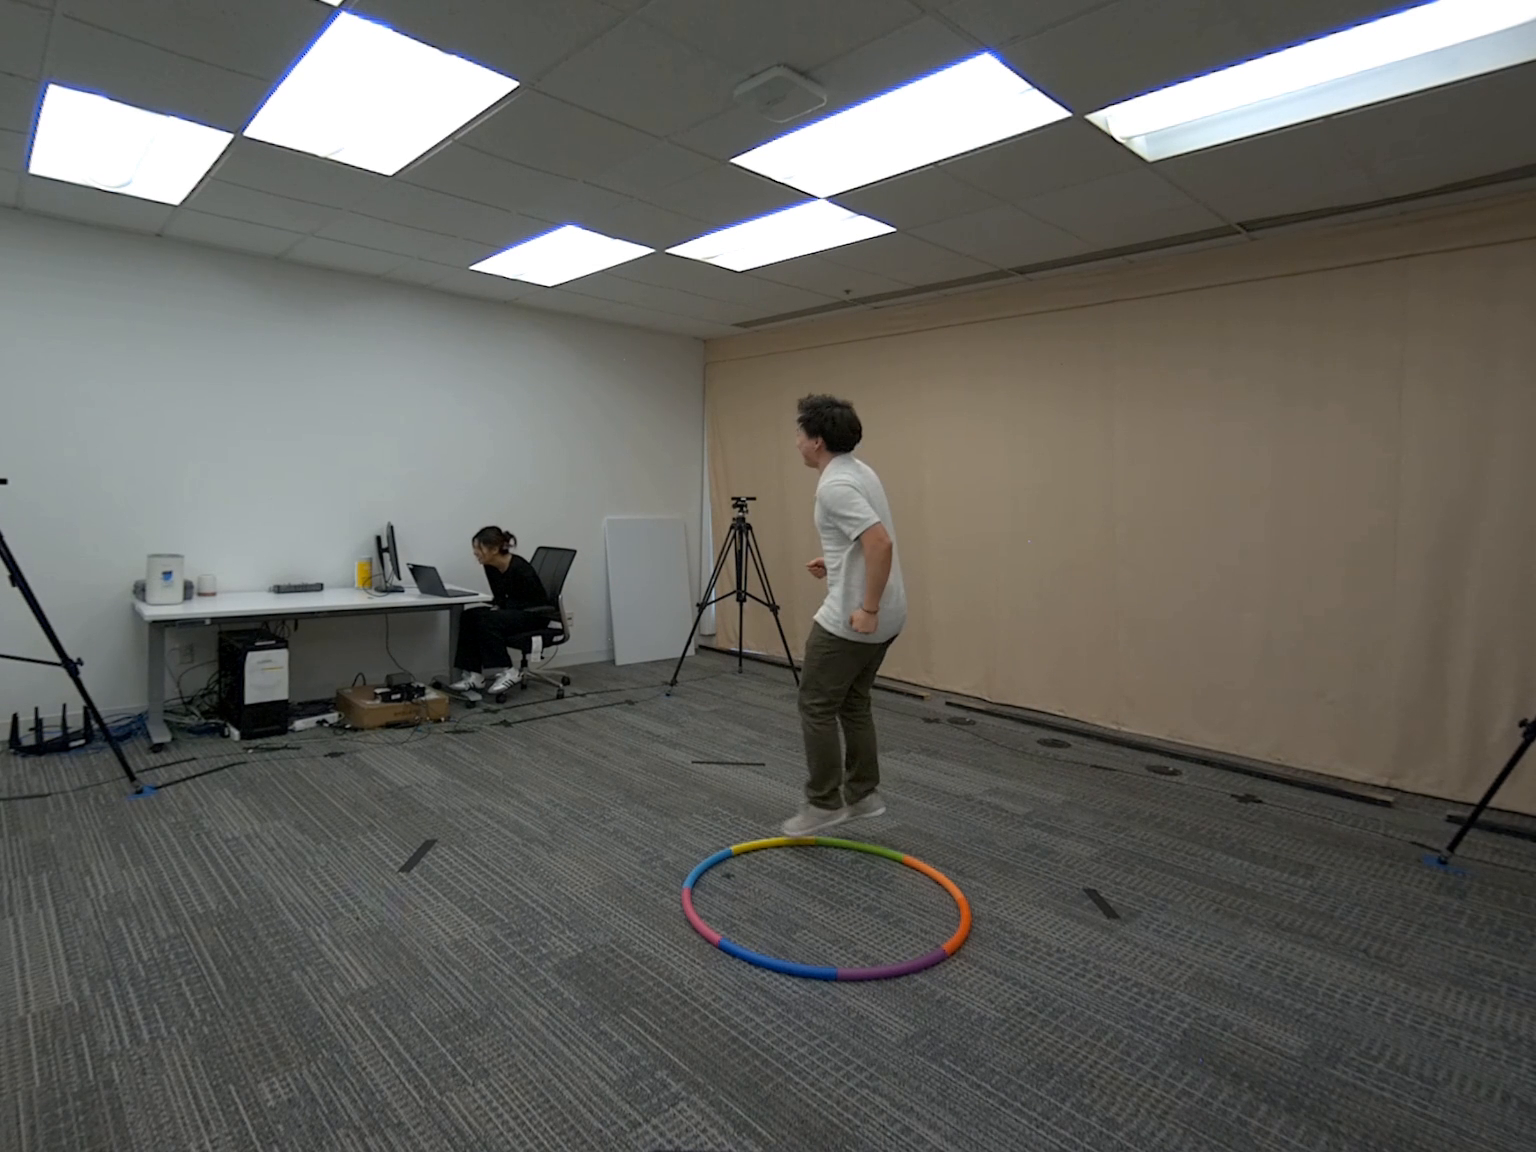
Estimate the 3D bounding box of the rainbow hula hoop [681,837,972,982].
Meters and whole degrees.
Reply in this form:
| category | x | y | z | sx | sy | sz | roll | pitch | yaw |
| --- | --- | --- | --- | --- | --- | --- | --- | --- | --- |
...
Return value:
| category | x | y | z | sx | sy | sz | roll | pitch | yaw |
| --- | --- | --- | --- | --- | --- | --- | --- | --- | --- |
| rainbow hula hoop | 0.183 | 1.101 | 2.926 | 0.978 | 0.035 | 0.982 | 1 | 6 | -1 |
